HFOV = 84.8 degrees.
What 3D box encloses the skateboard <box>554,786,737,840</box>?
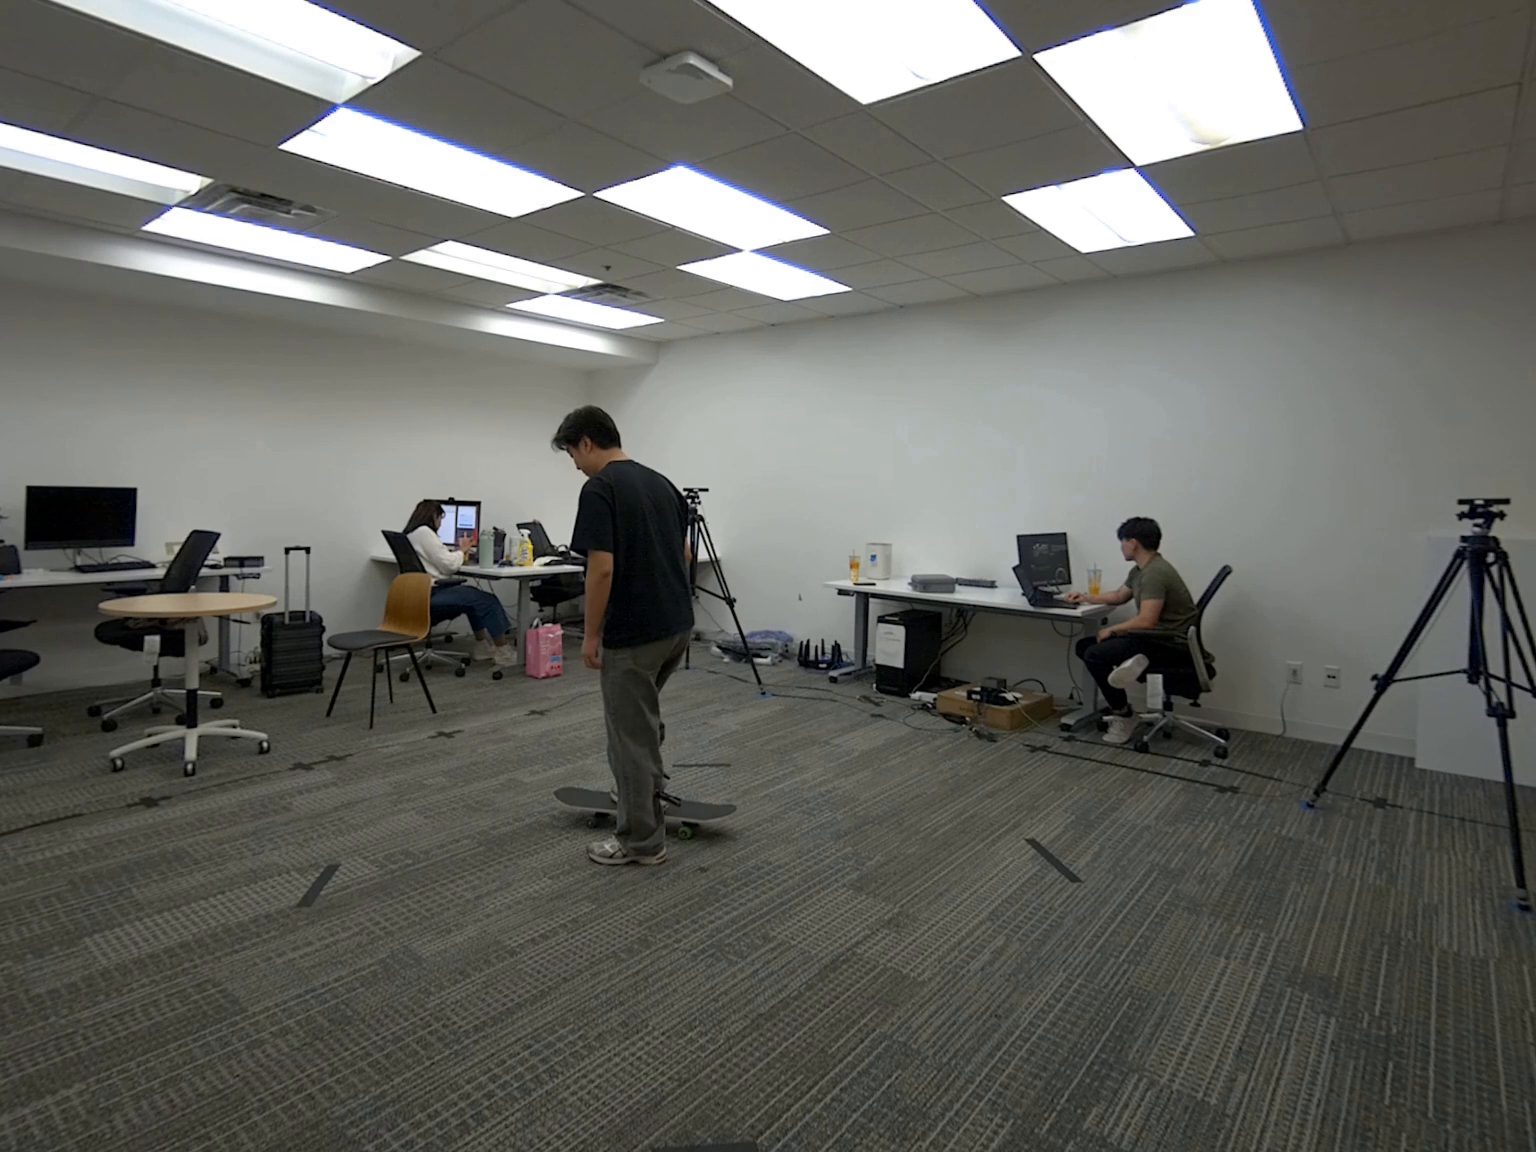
[{"bbox_3d":[-0.526,0.968,3.495,0.796,0.110,0.192,3,6,12],"label":"skateboard"}]
